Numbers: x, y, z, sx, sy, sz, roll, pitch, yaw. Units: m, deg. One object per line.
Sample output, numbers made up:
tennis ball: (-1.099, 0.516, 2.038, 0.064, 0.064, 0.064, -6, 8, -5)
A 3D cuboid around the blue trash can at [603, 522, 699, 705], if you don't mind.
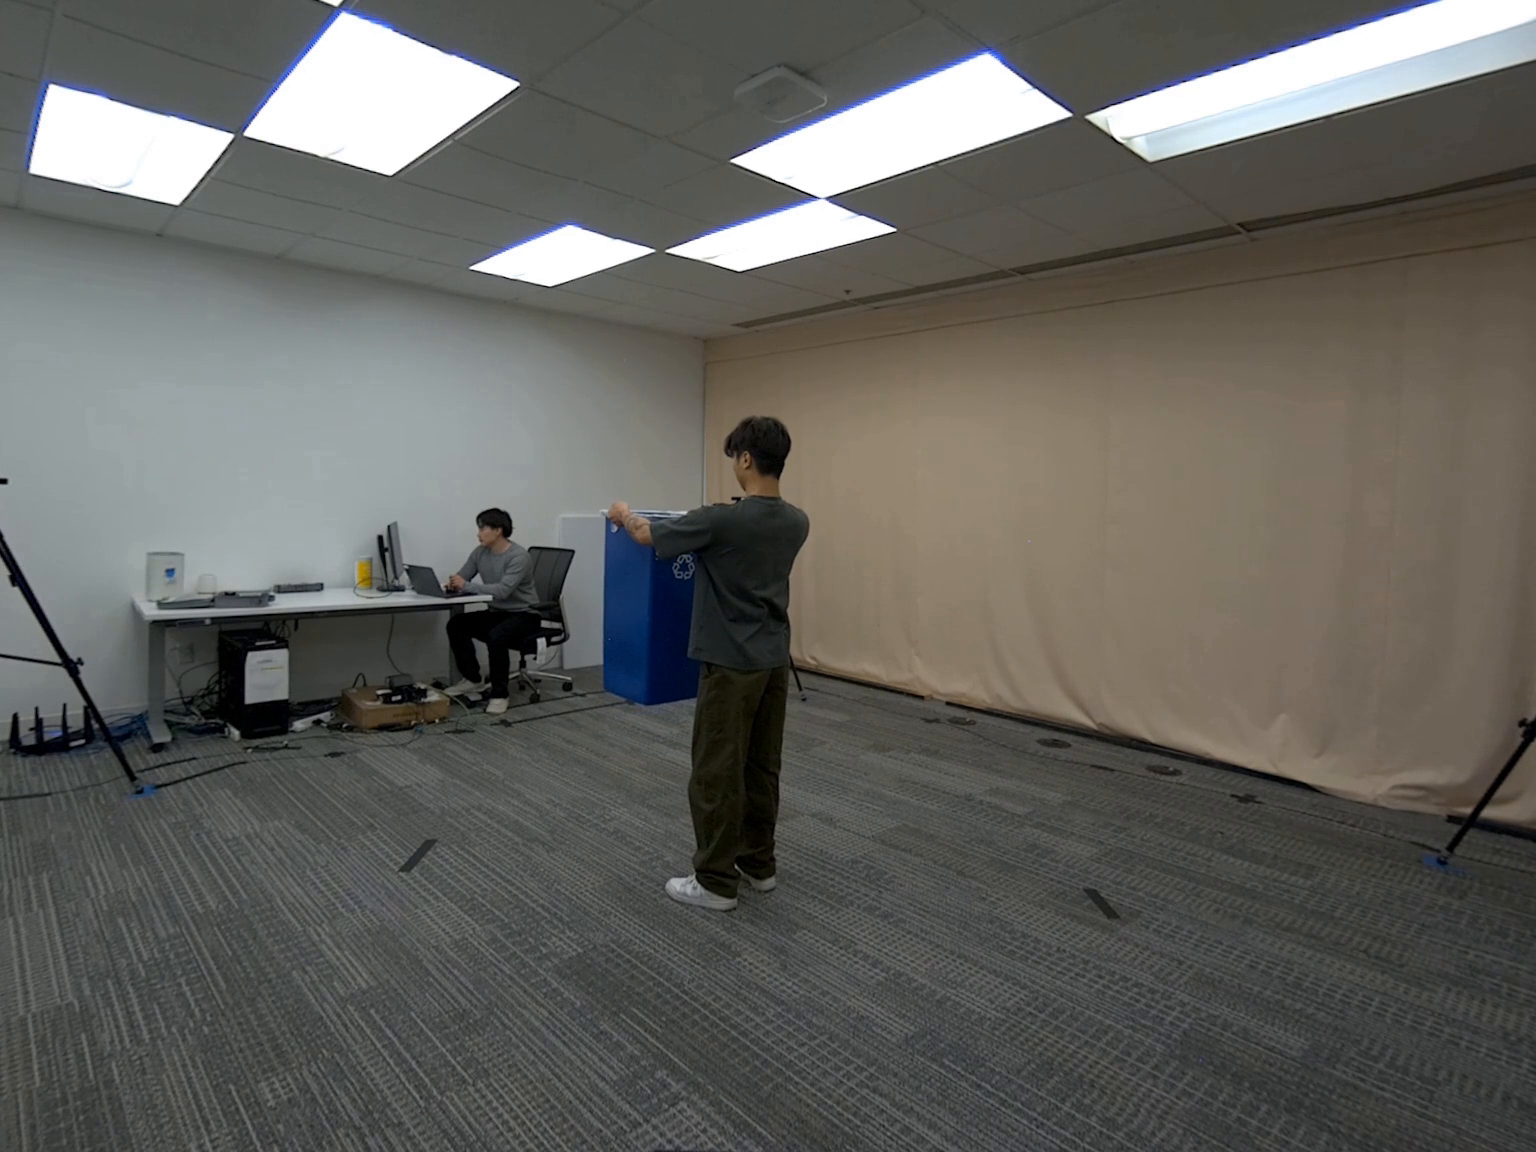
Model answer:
blue trash can: (-0.447, 0.113, 3.317, 0.369, 0.711, 0.384, 0, 6, -44)
